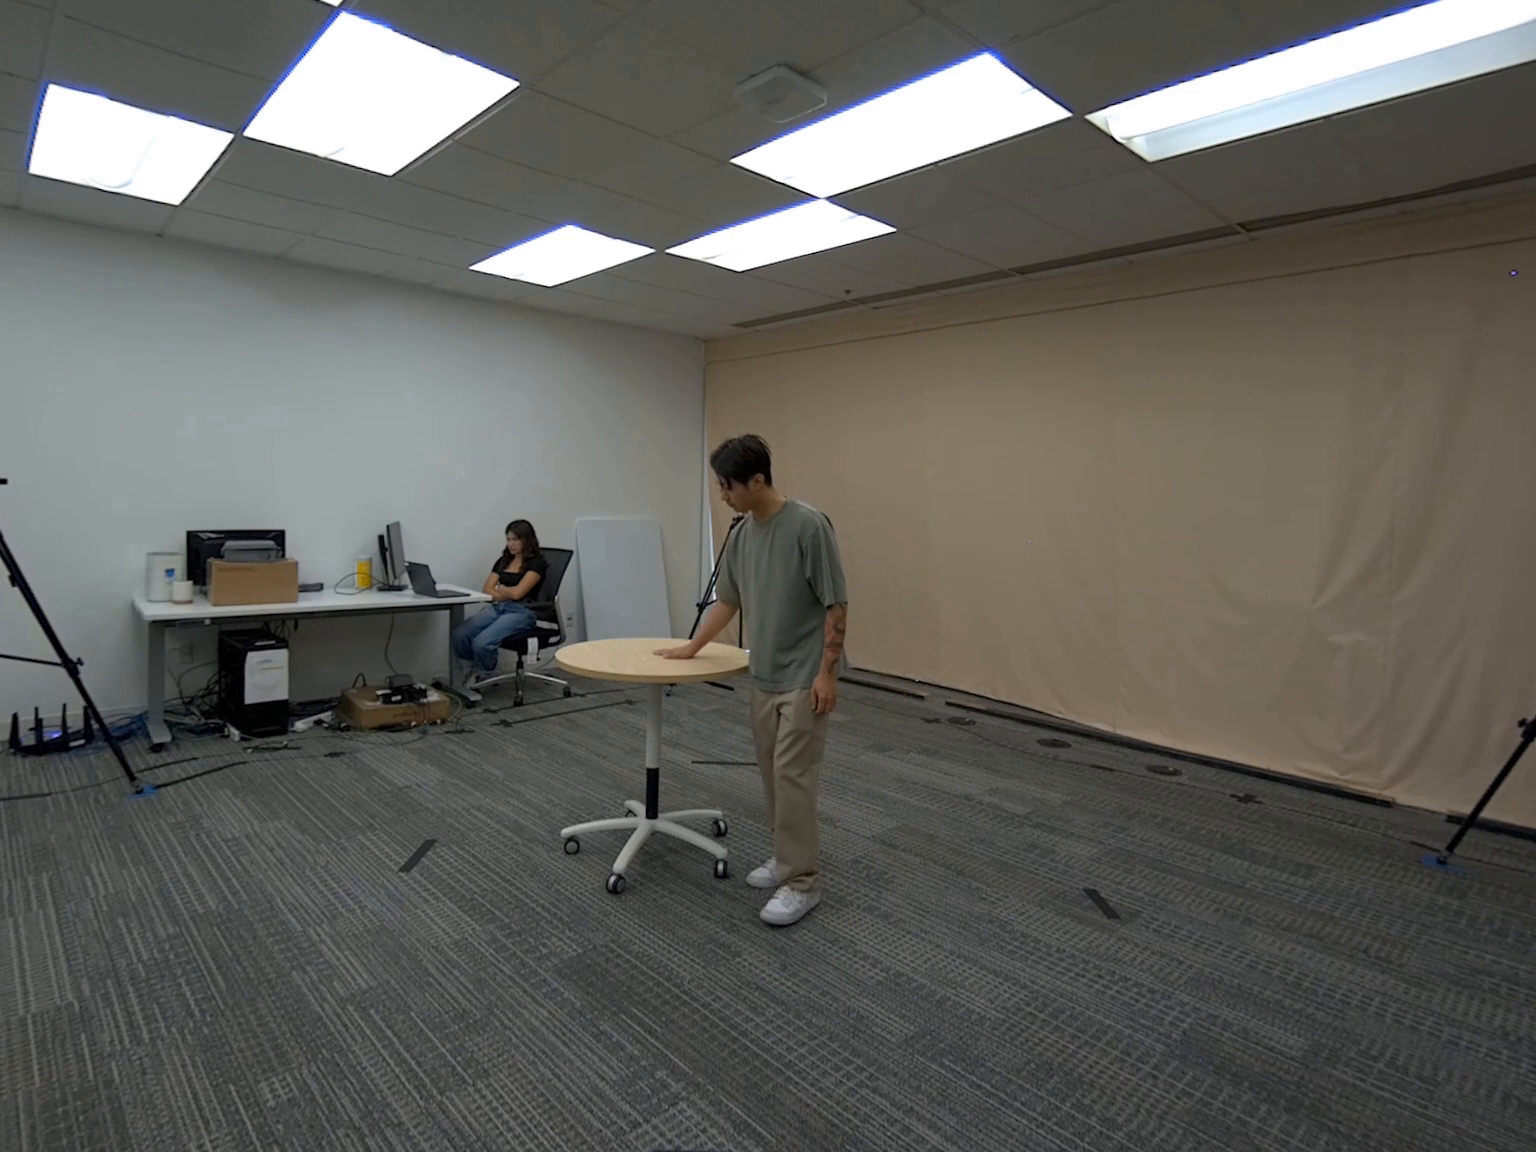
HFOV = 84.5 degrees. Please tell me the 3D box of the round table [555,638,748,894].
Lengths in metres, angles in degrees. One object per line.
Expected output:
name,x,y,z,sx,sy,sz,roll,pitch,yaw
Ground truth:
round table,-0.460,0.698,3.277,0.763,0.792,0.766,2,4,-1
